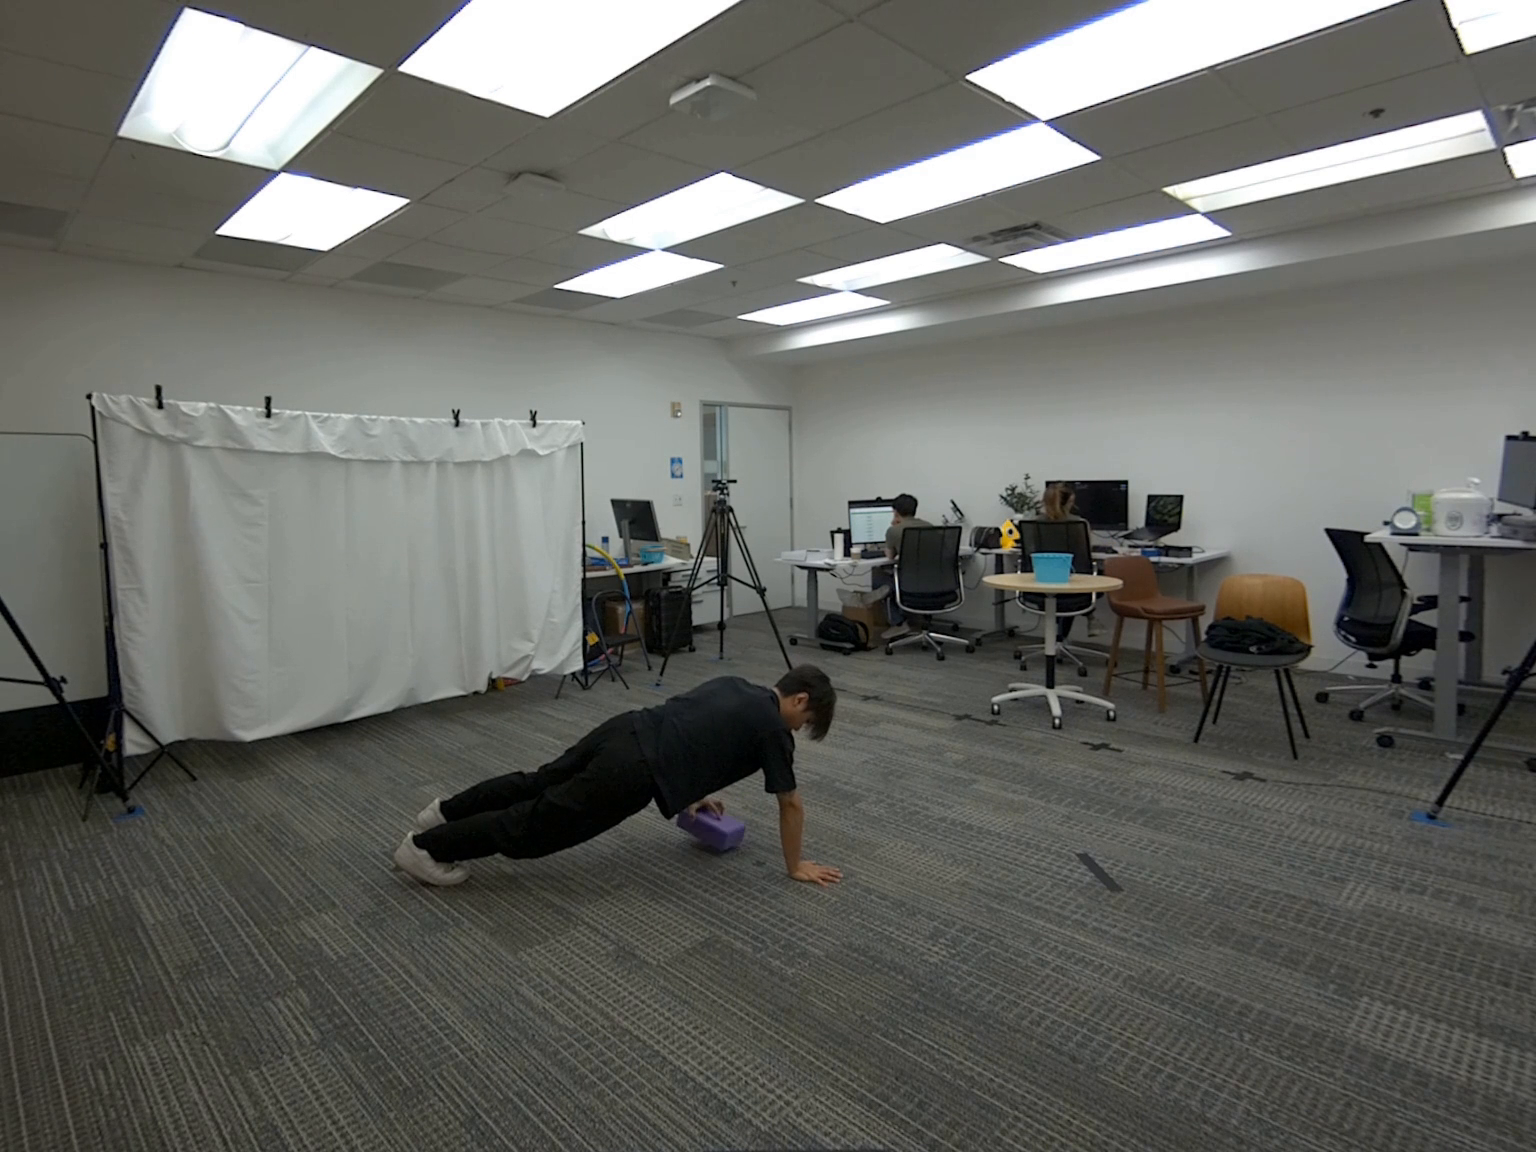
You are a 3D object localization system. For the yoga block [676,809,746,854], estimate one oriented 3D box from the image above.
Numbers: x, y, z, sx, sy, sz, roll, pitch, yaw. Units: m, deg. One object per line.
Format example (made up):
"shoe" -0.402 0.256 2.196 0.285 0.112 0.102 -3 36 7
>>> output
"yoga block" -0.218 0.955 3.271 0.236 0.076 0.145 17 9 30
